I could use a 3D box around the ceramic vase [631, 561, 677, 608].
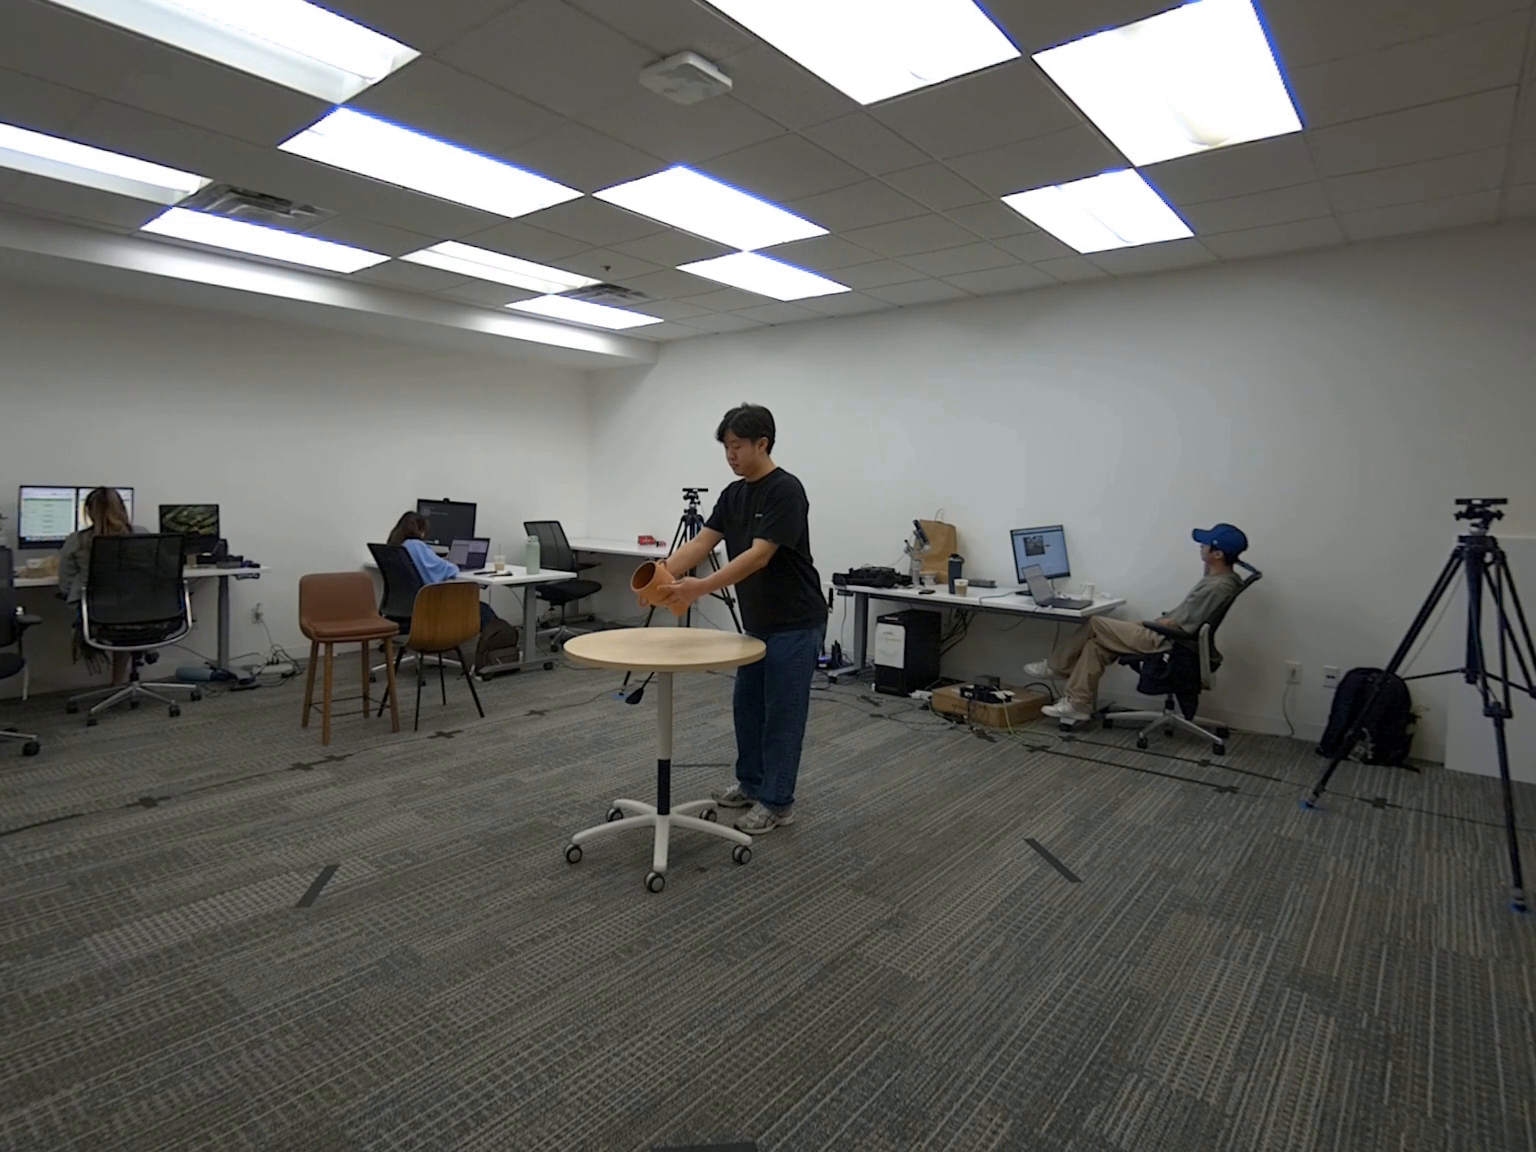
[{"bbox_3d":[-0.406,0.054,3.198,0.211,0.159,0.140,40,16,-37],"label":"ceramic vase"}]
